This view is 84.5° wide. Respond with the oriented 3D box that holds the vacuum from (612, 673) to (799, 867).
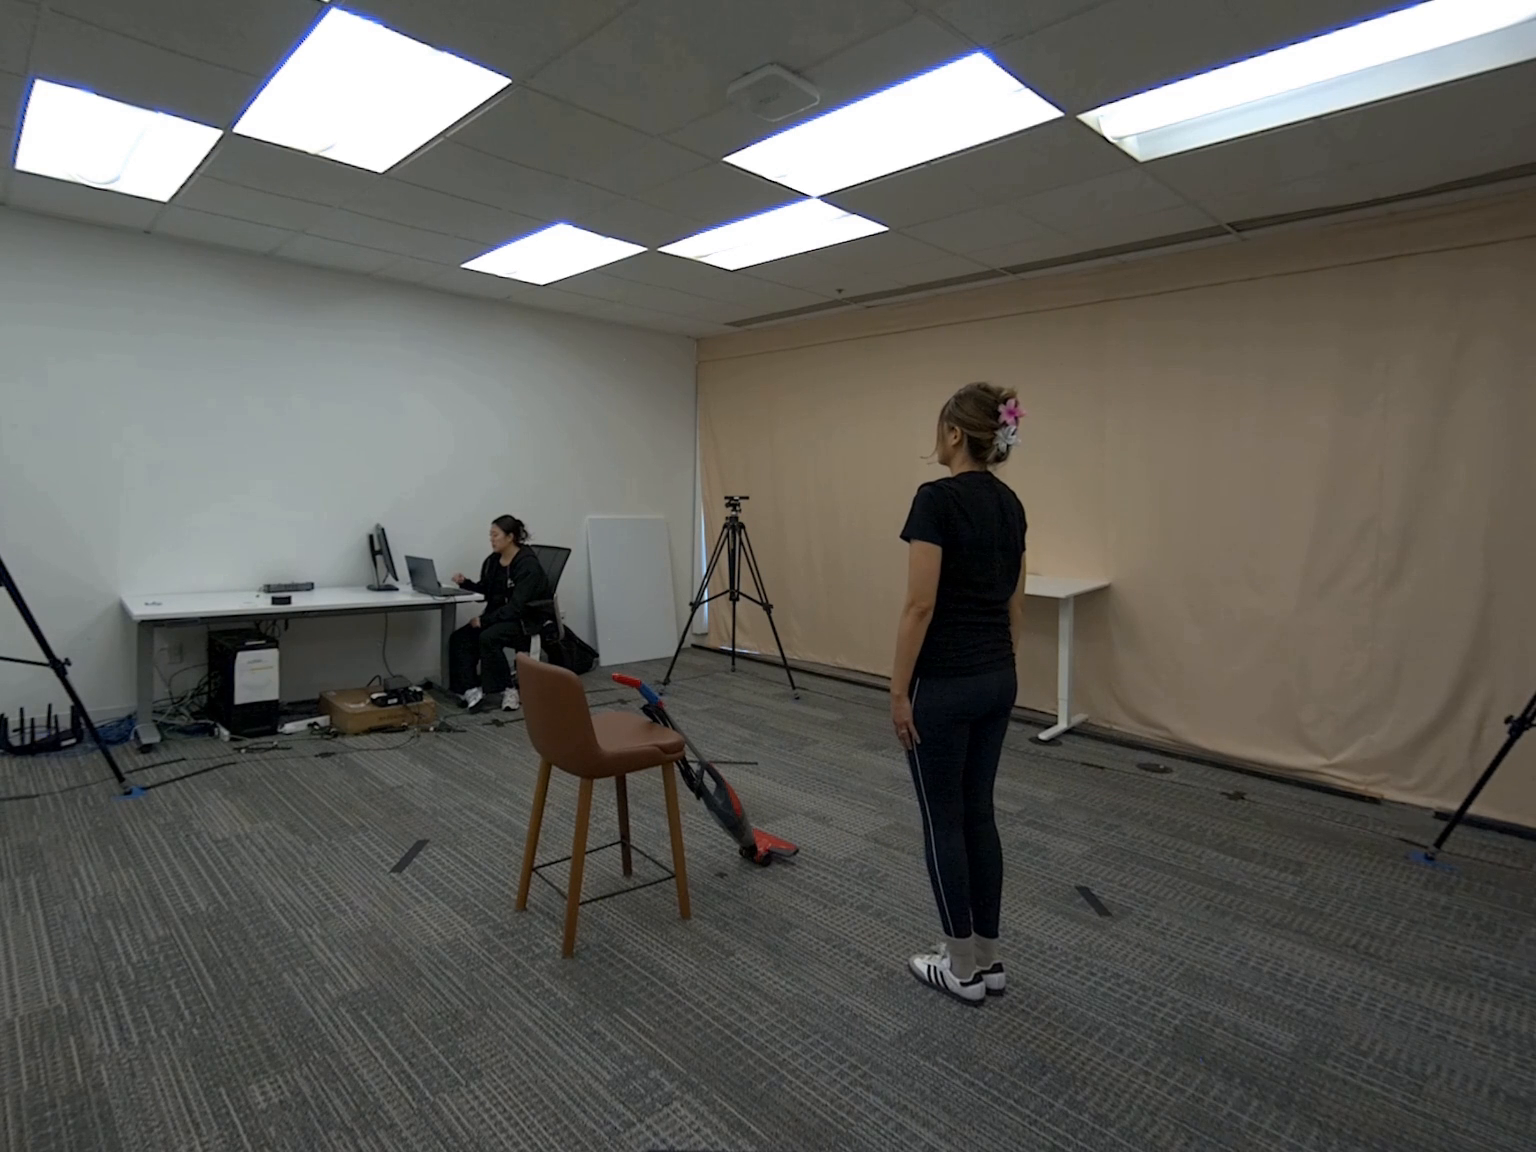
[{"bbox_3d":[-0.255,0.703,3.017,0.259,1.022,0.144,2,44,46],"label":"vacuum"}]
